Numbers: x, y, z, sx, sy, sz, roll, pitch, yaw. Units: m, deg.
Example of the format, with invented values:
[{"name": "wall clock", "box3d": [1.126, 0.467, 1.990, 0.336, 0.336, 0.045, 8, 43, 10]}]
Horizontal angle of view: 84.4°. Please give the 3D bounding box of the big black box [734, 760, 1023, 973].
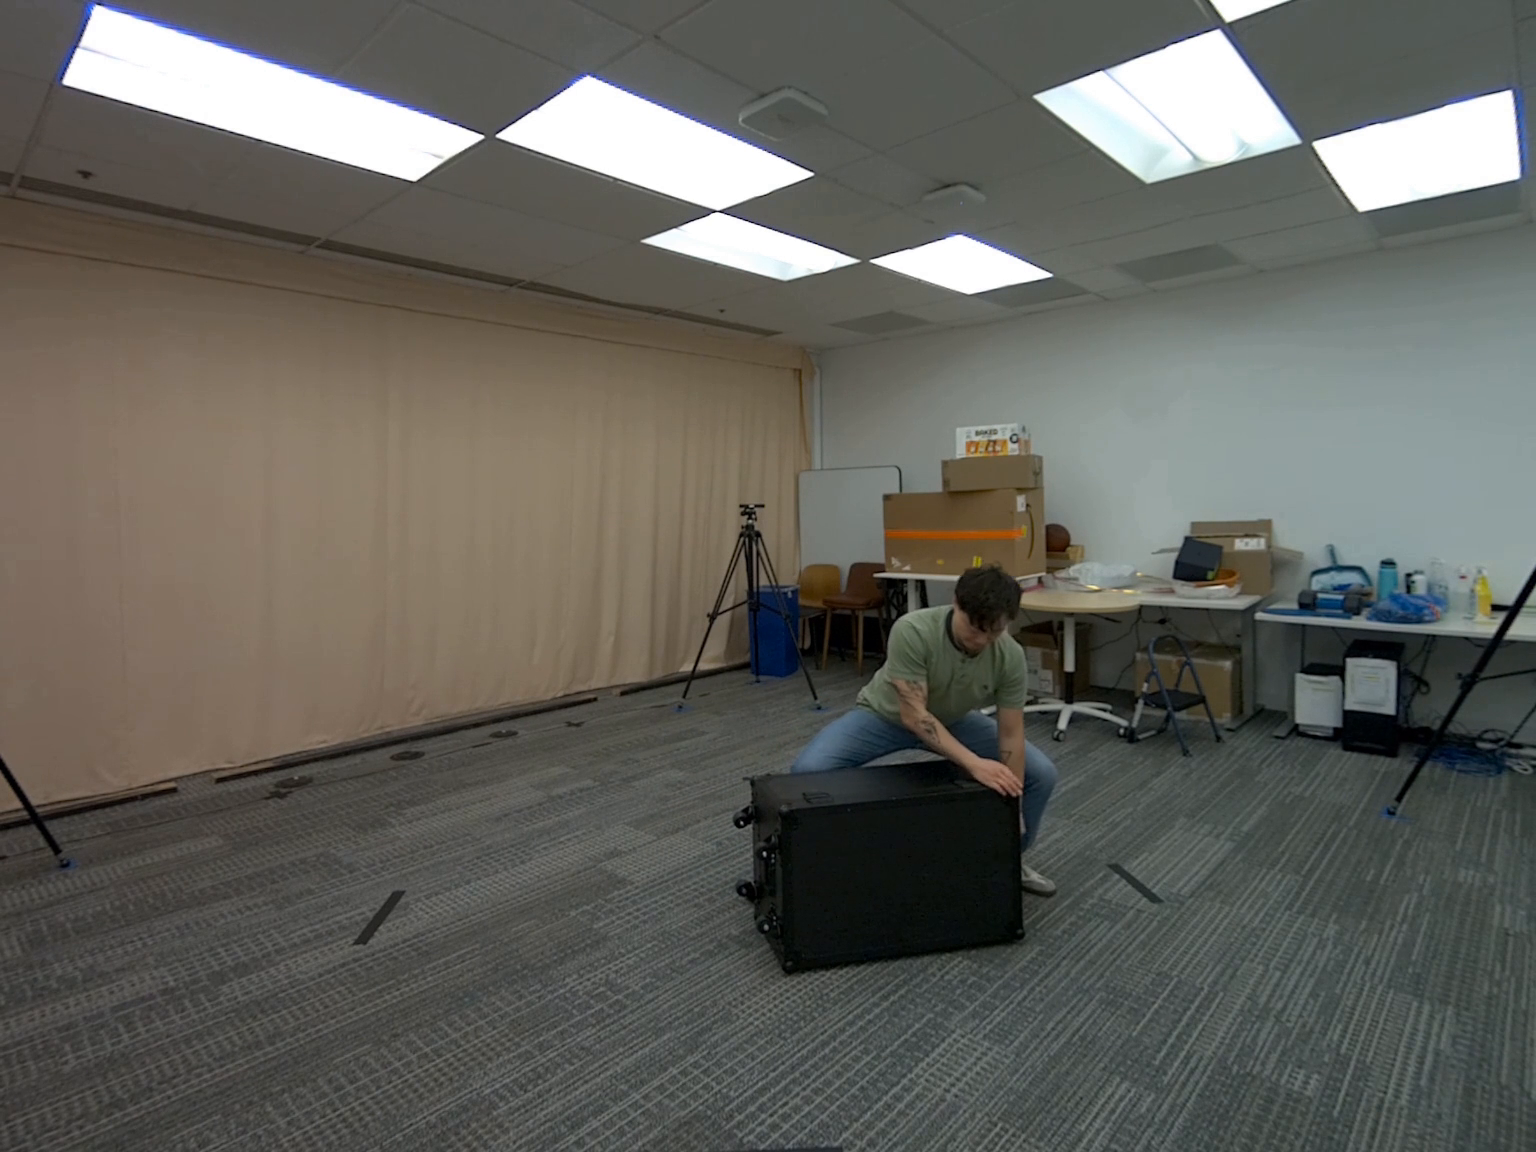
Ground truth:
[{"name": "big black box", "box3d": [0.339, 0.894, 2.727, 0.850, 0.521, 0.402, -2, 2, -13]}]
